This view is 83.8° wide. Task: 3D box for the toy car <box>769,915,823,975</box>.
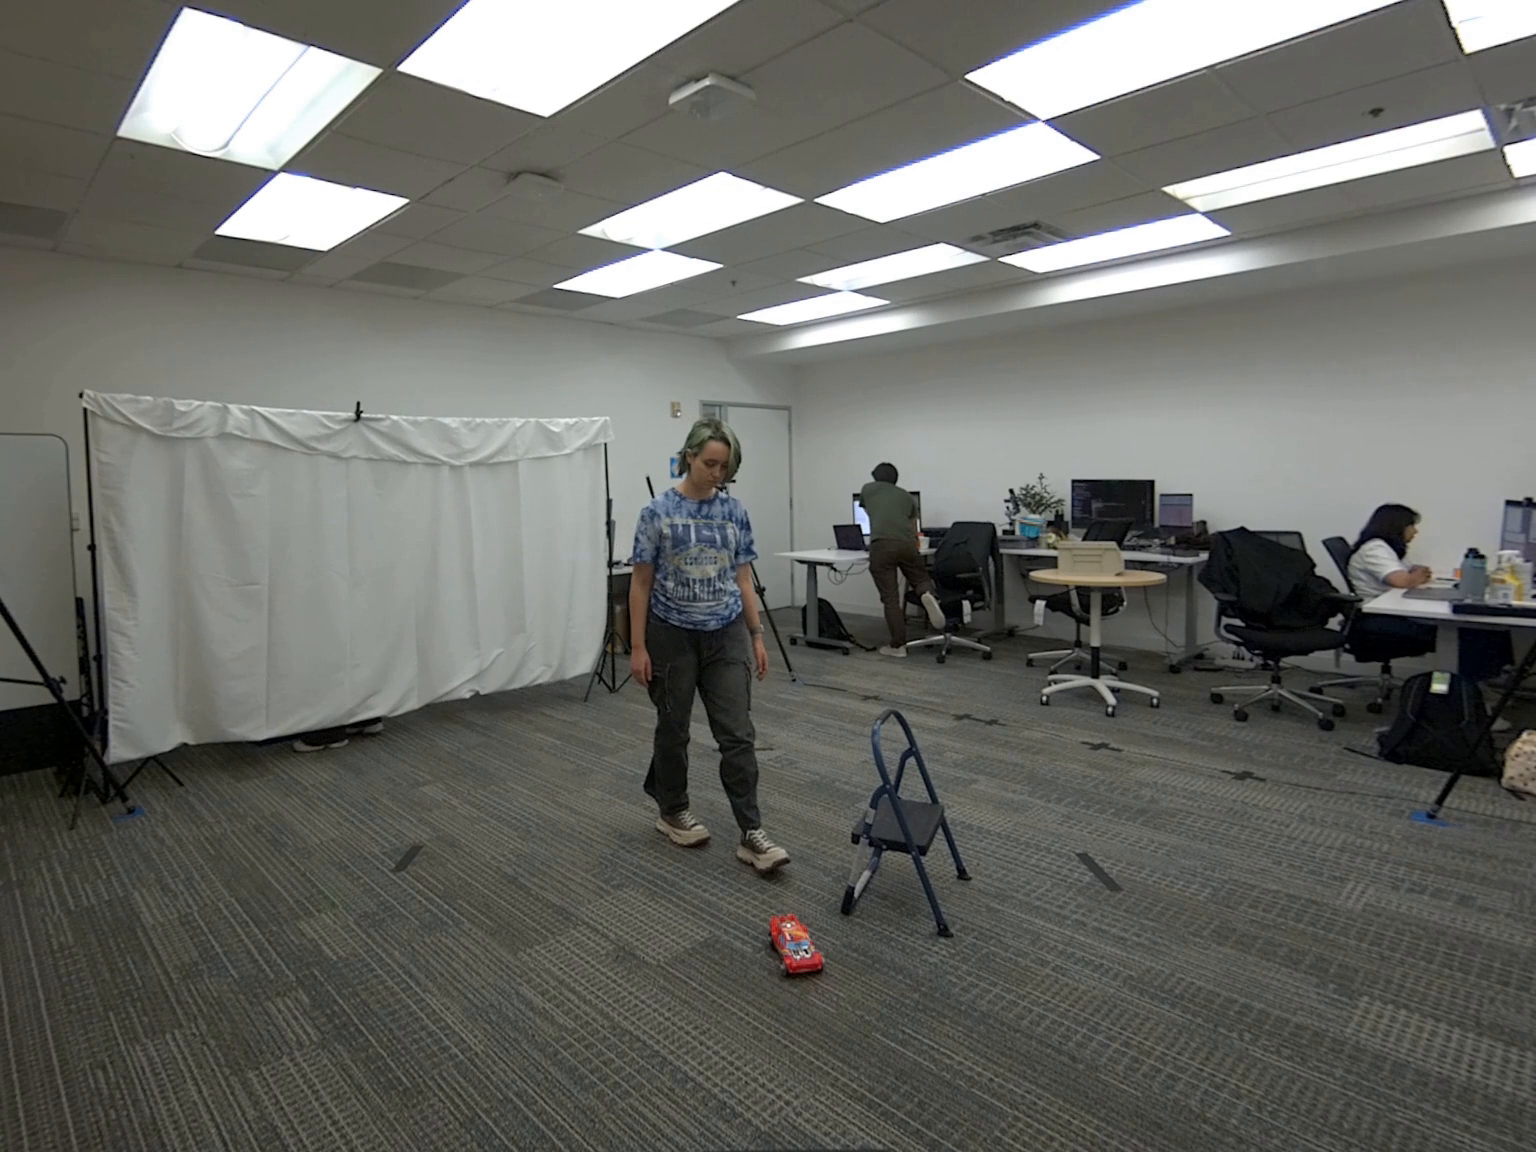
[{"bbox_3d":[0.078,1.085,2.501,0.129,0.082,0.261,-3,17,-13],"label":"toy car"}]
